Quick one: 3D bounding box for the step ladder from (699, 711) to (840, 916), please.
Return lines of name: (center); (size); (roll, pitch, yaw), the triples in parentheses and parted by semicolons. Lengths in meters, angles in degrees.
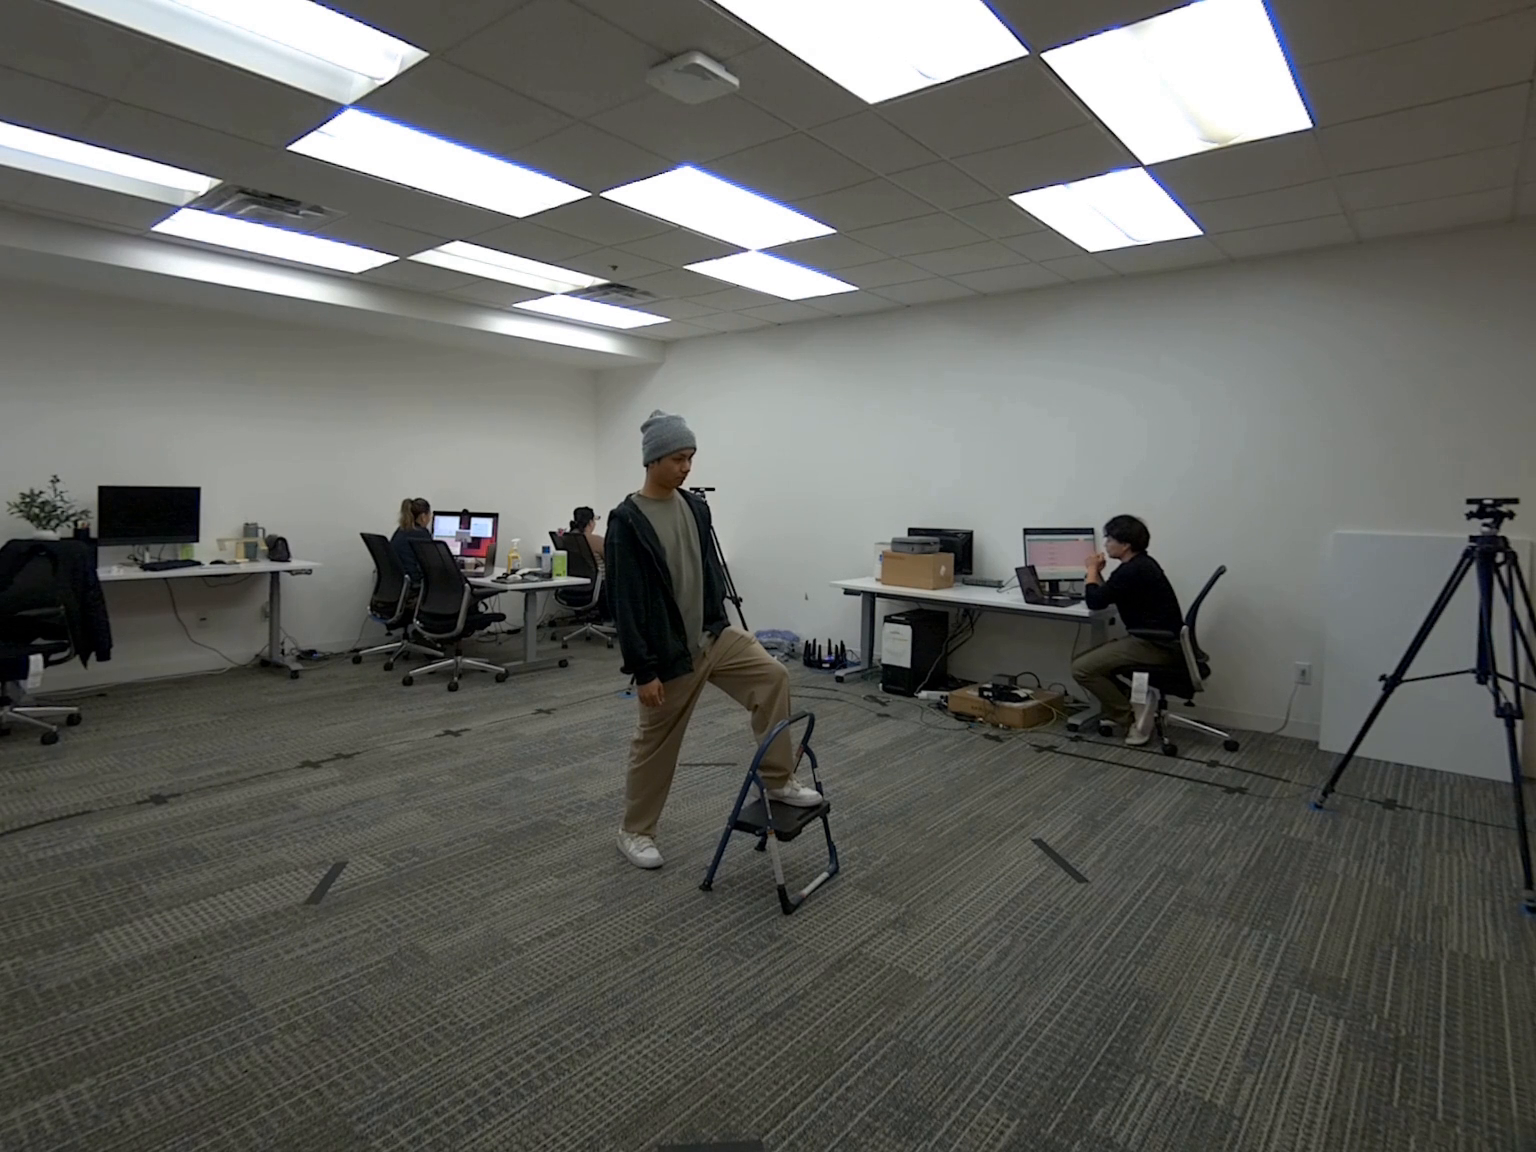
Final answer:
step ladder: (0.015, 0.778, 3.016); (0.359, 0.604, 0.419); (4, 4, 29)
